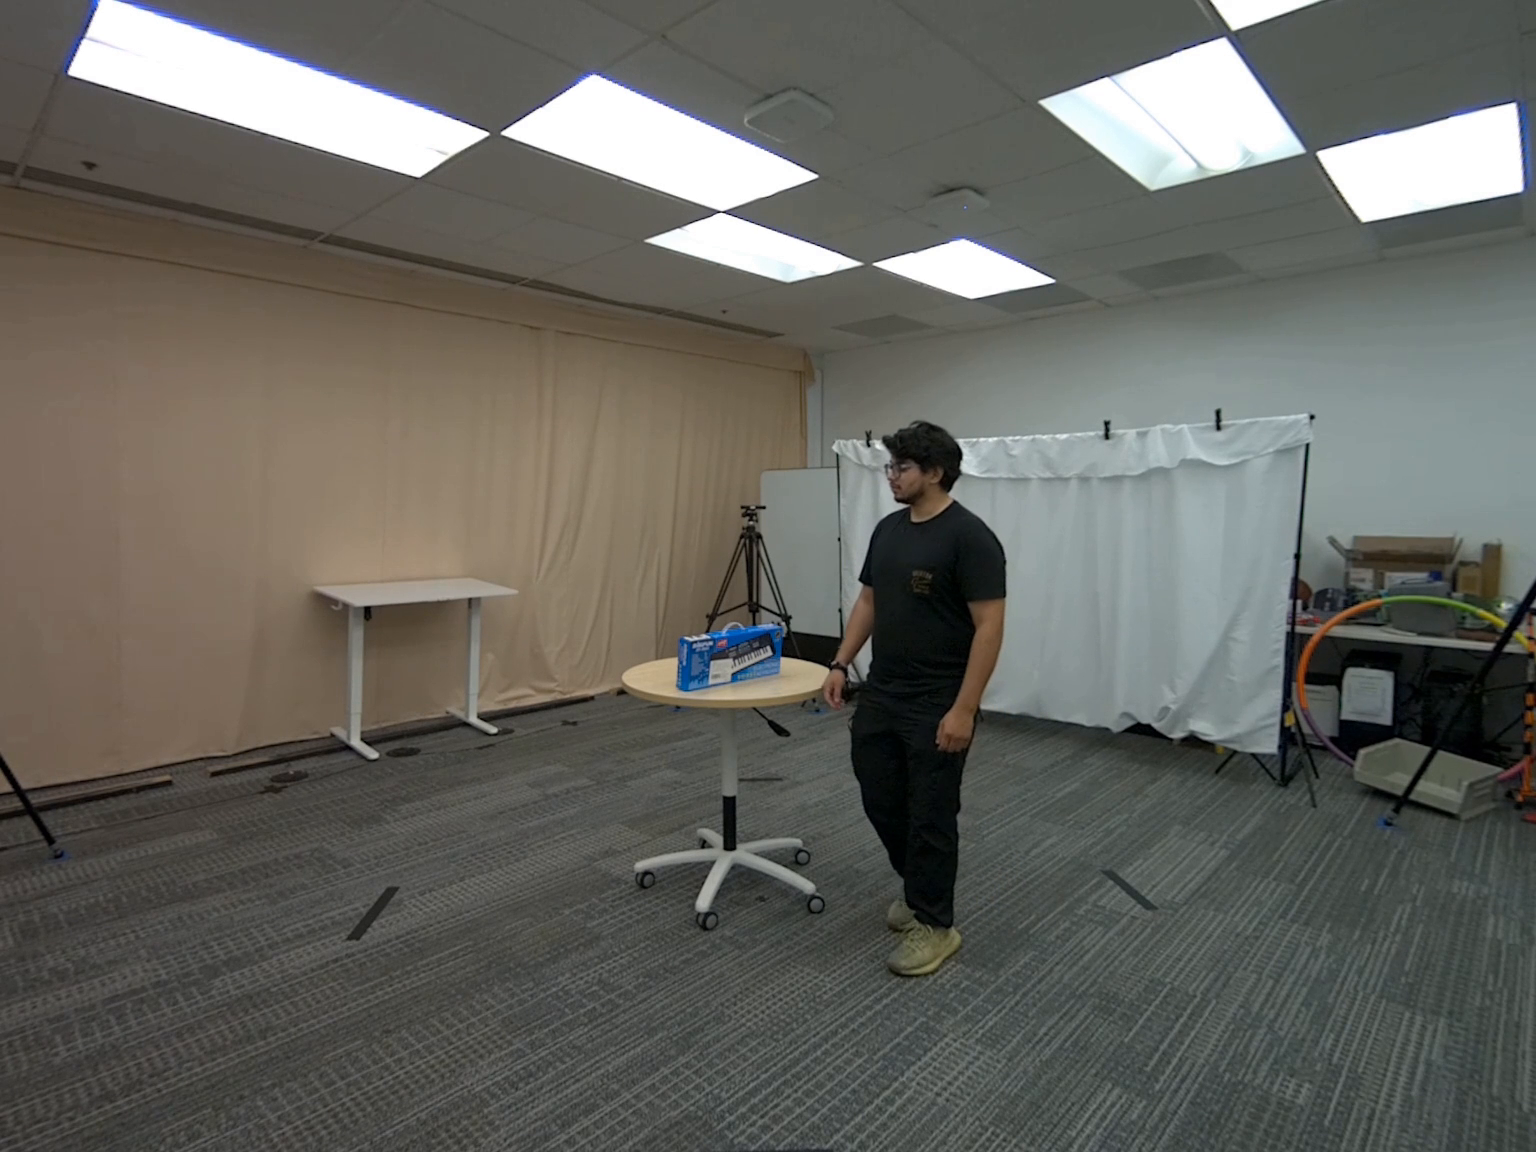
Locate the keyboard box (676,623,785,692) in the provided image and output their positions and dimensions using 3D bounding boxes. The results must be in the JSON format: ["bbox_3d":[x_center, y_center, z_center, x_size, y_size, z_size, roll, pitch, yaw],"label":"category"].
[{"bbox_3d":[-0.126,0.281,2.918,0.424,0.175,0.061,-5,11,-43],"label":"keyboard box"}]
